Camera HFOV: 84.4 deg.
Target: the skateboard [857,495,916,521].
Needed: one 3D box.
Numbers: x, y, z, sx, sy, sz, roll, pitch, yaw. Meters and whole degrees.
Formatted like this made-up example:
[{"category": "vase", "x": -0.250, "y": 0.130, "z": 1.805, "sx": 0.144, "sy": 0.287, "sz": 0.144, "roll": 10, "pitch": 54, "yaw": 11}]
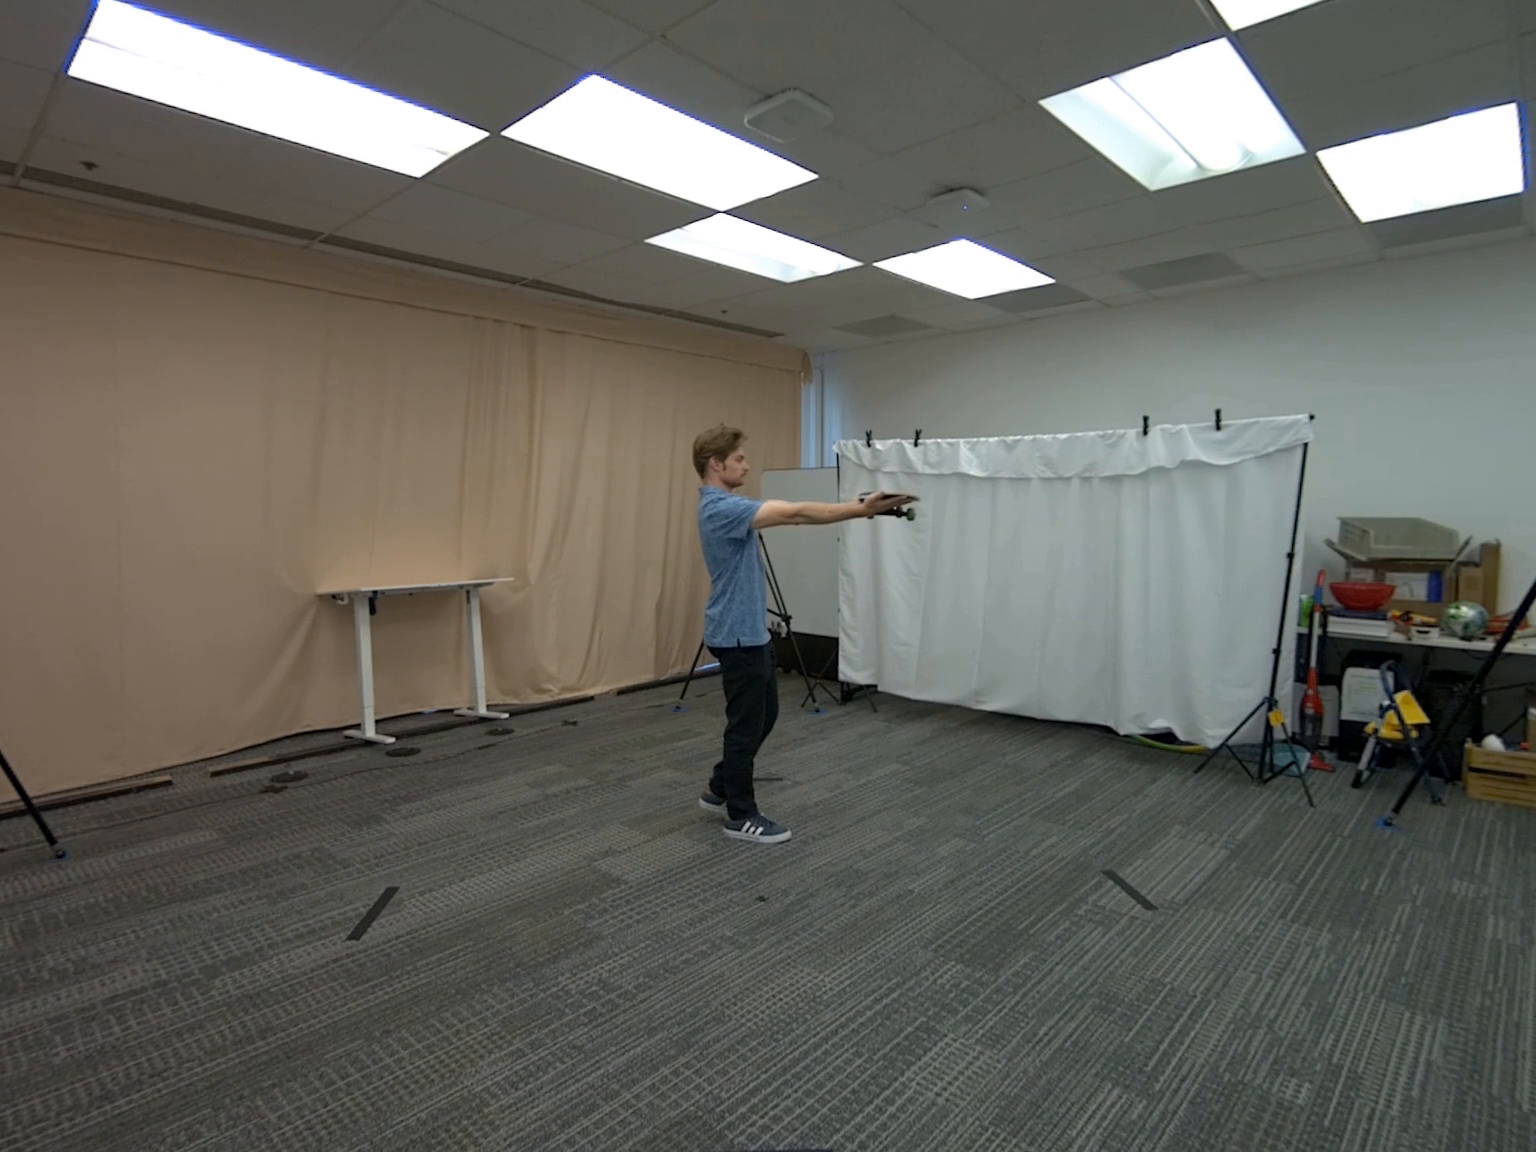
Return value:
[{"category": "skateboard", "x": 0.455, "y": -0.279, "z": 3.437, "sx": 0.194, "sy": 0.110, "sz": 0.786, "roll": -9, "pitch": 6, "yaw": 1}]
